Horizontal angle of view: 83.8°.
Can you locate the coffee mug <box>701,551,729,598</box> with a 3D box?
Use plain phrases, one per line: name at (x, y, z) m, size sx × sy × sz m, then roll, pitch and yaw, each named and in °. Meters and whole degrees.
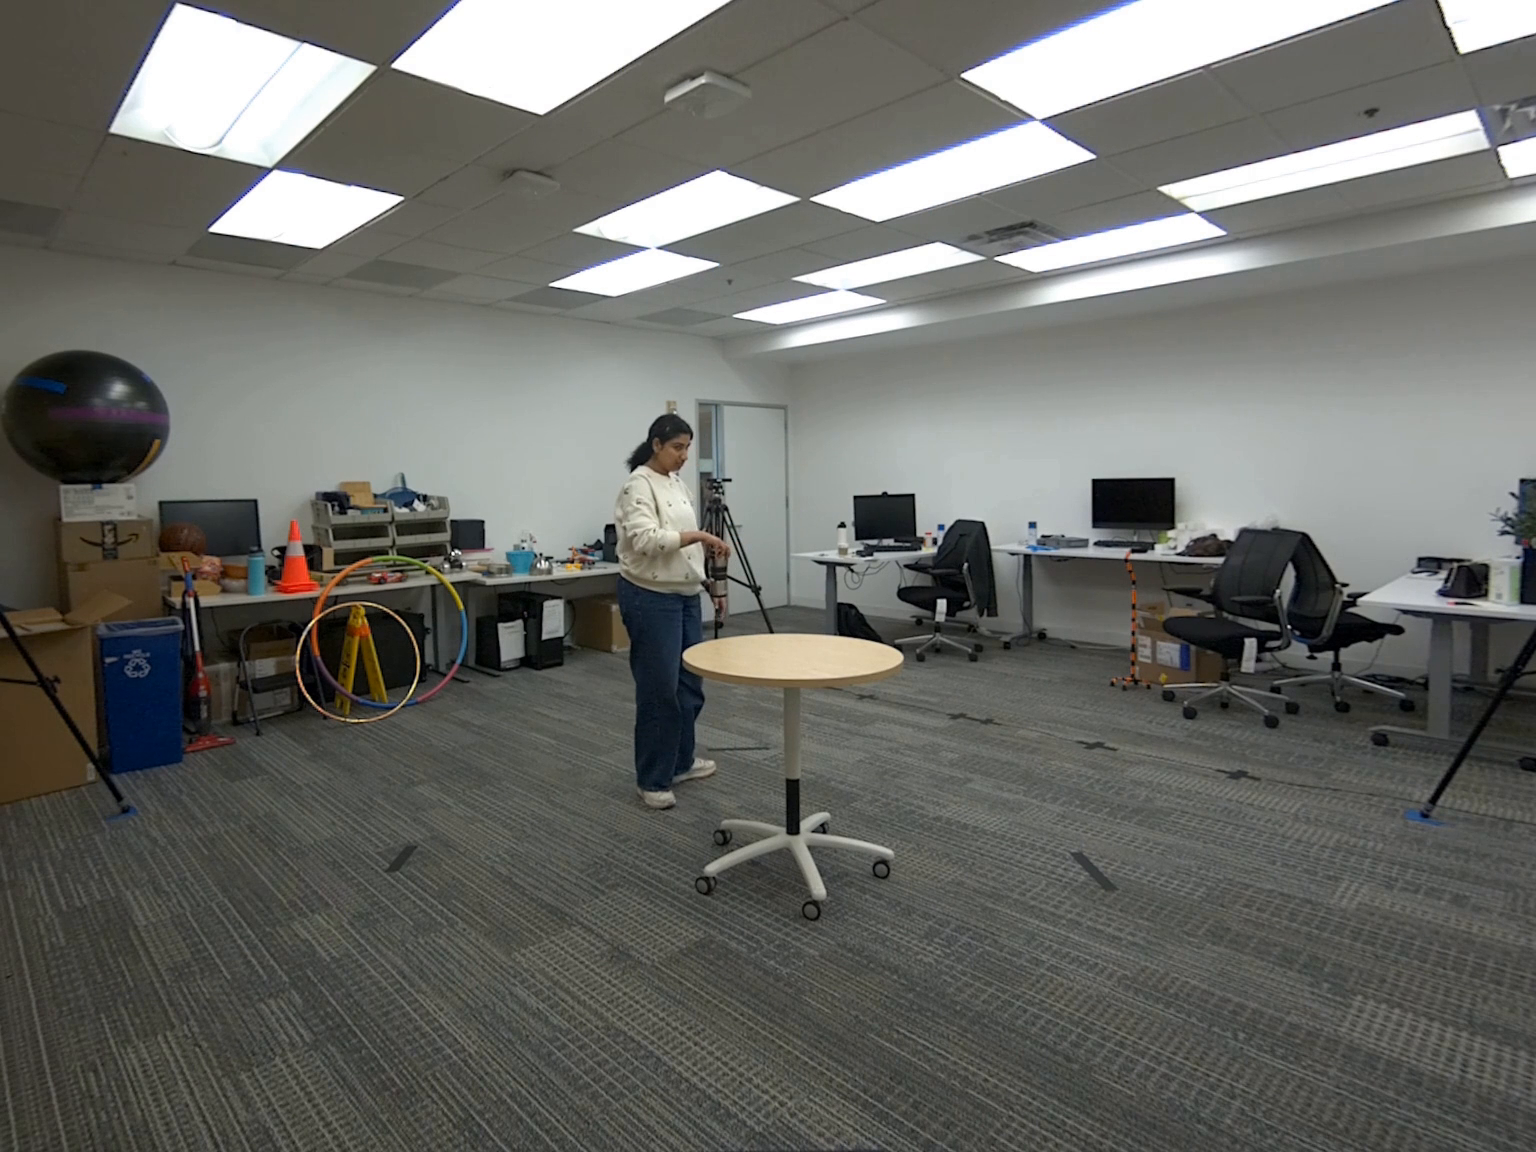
coffee mug at (-0.236, -0.008, 3.652) m, size 0.119 × 0.201 × 0.091 m, roll -4°, pitch 12°, yaw -33°
